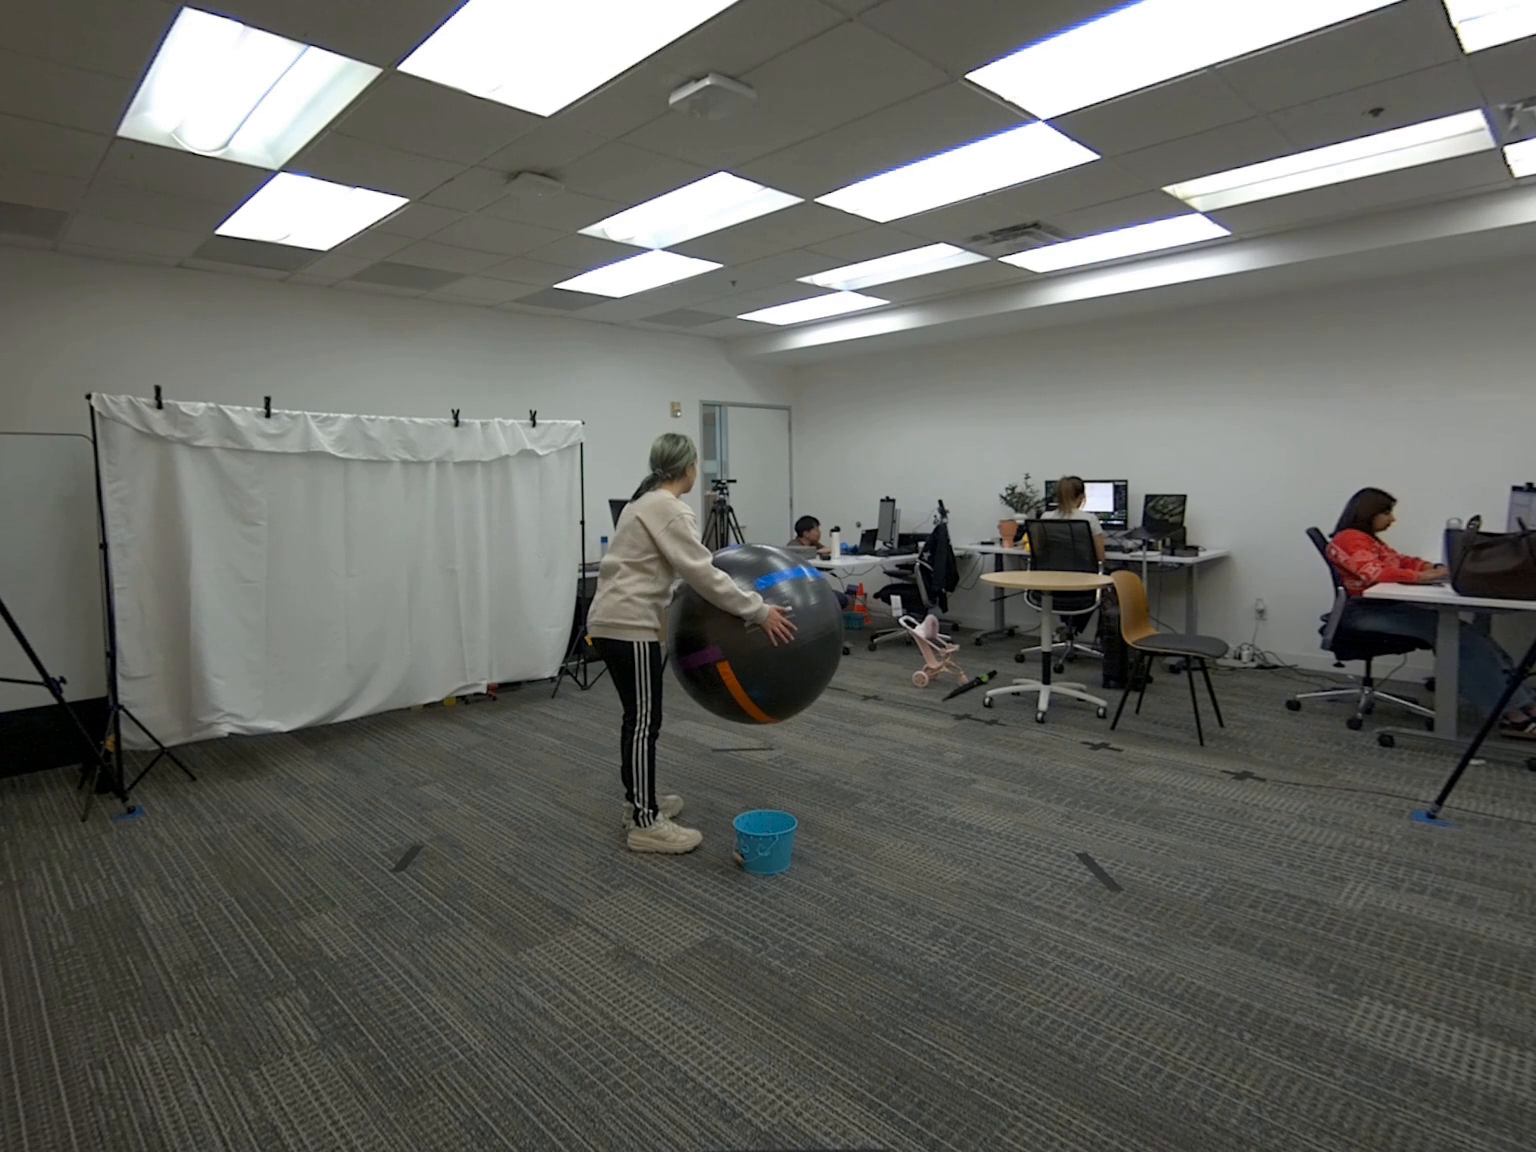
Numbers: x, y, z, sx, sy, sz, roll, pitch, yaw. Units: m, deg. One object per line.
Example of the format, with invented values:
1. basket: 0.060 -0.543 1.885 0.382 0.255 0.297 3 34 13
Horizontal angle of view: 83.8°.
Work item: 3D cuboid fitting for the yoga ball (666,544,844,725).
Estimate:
1. yoga ball: -0.058 0.256 3.612 0.757 0.755 0.762 -1 5 -2
